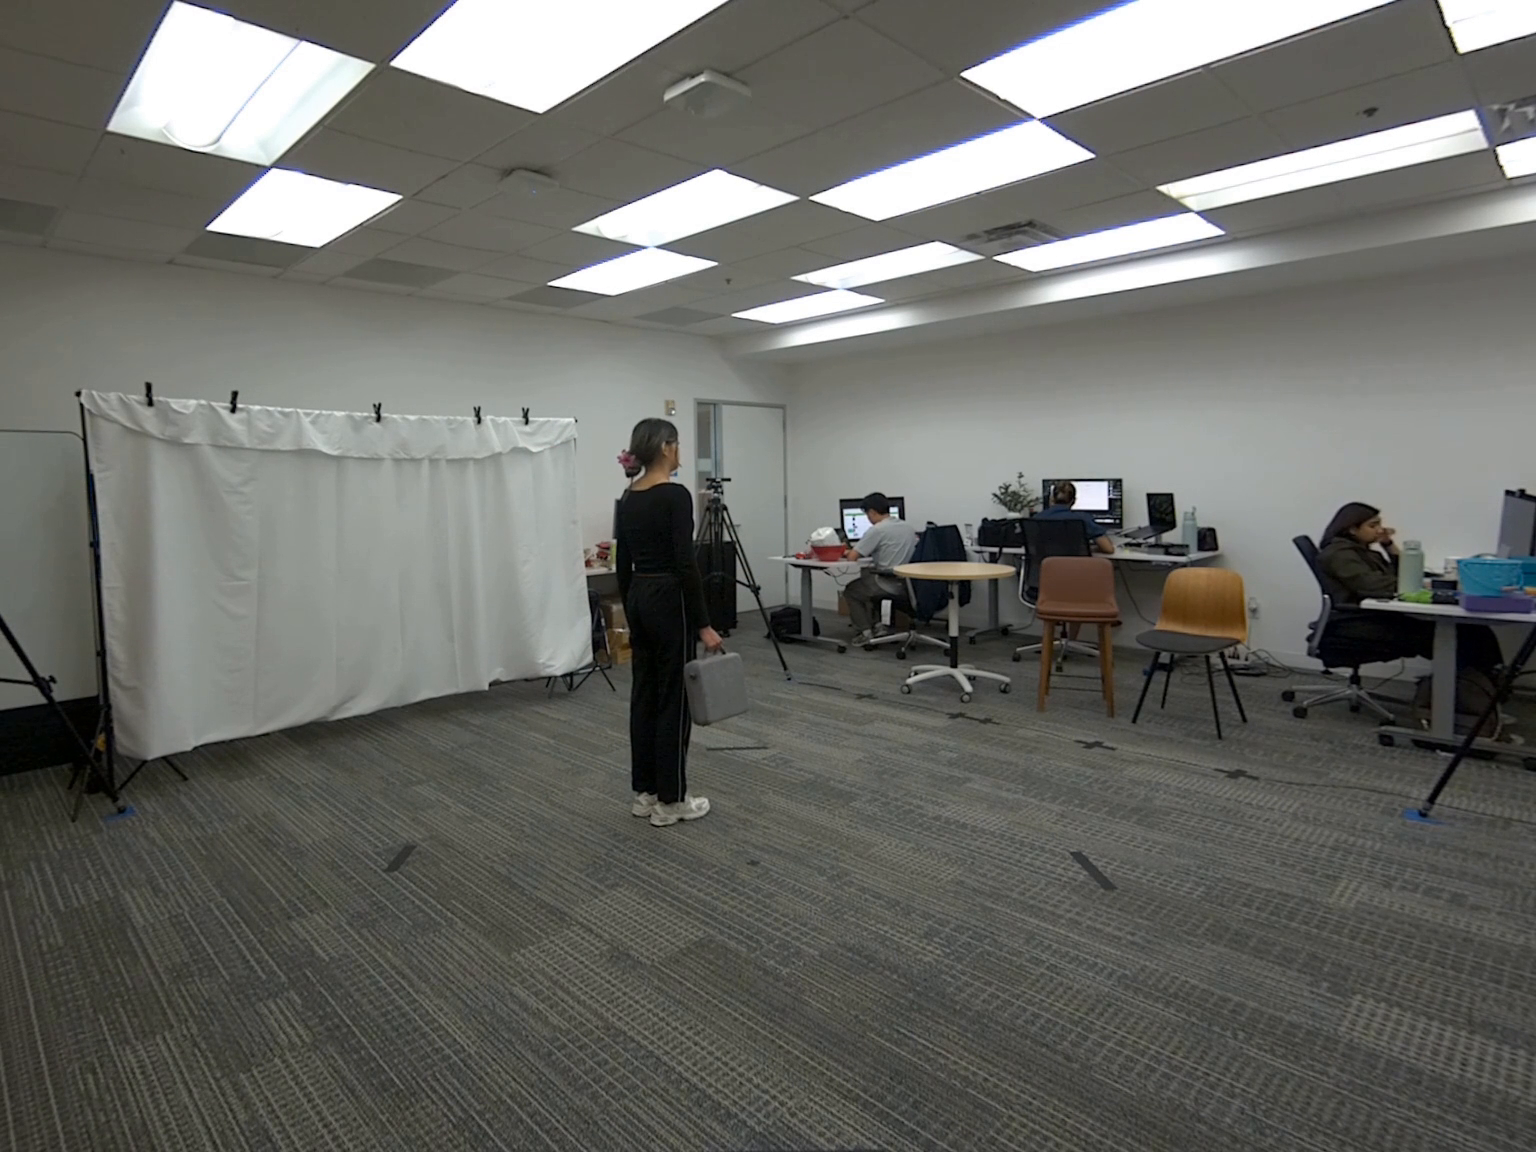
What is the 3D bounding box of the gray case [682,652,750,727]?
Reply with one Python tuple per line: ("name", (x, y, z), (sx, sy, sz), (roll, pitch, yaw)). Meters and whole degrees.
("gray case", (-0.207, 0.442, 3.426), (0.107, 0.260, 0.250), (-6, 1, 44))
